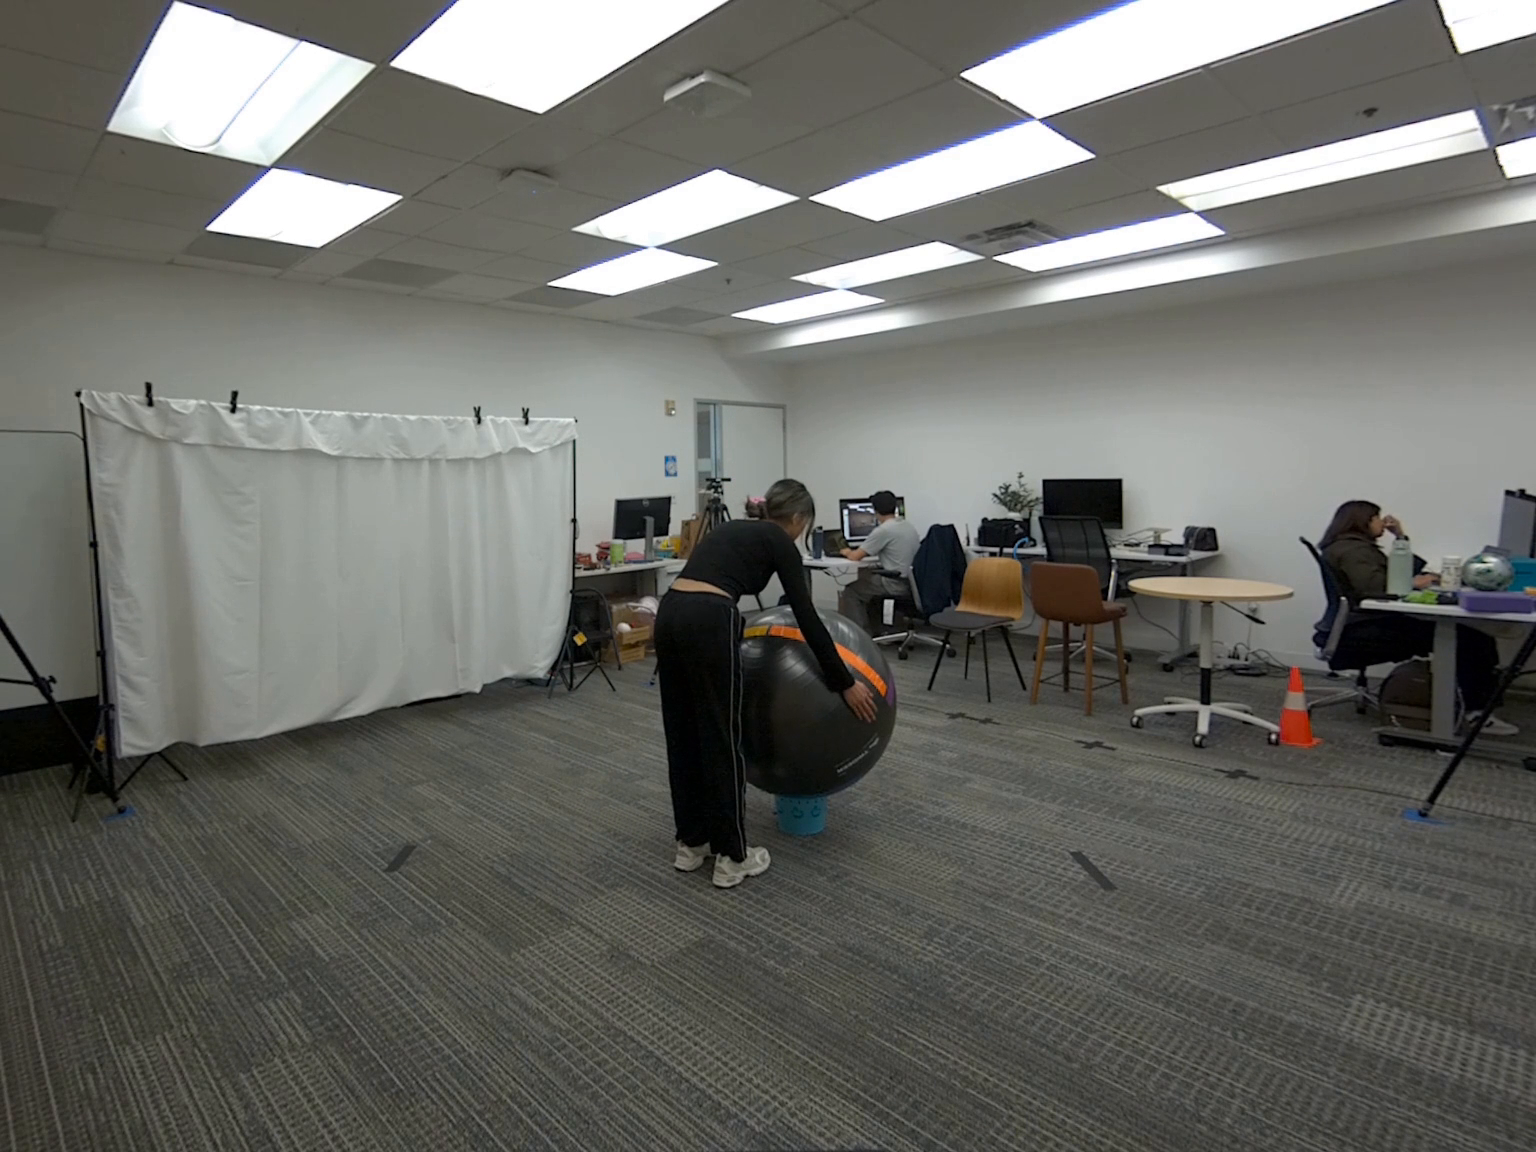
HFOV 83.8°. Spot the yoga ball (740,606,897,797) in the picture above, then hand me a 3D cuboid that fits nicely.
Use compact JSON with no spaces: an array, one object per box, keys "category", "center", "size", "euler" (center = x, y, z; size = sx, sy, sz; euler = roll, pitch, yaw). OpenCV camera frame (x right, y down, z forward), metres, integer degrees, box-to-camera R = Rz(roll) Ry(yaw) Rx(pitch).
[{"category":"yoga ball","center":[0.130,0.499,3.412],"size":[0.757,0.755,0.762],"euler":[-1,5,-2]}]
